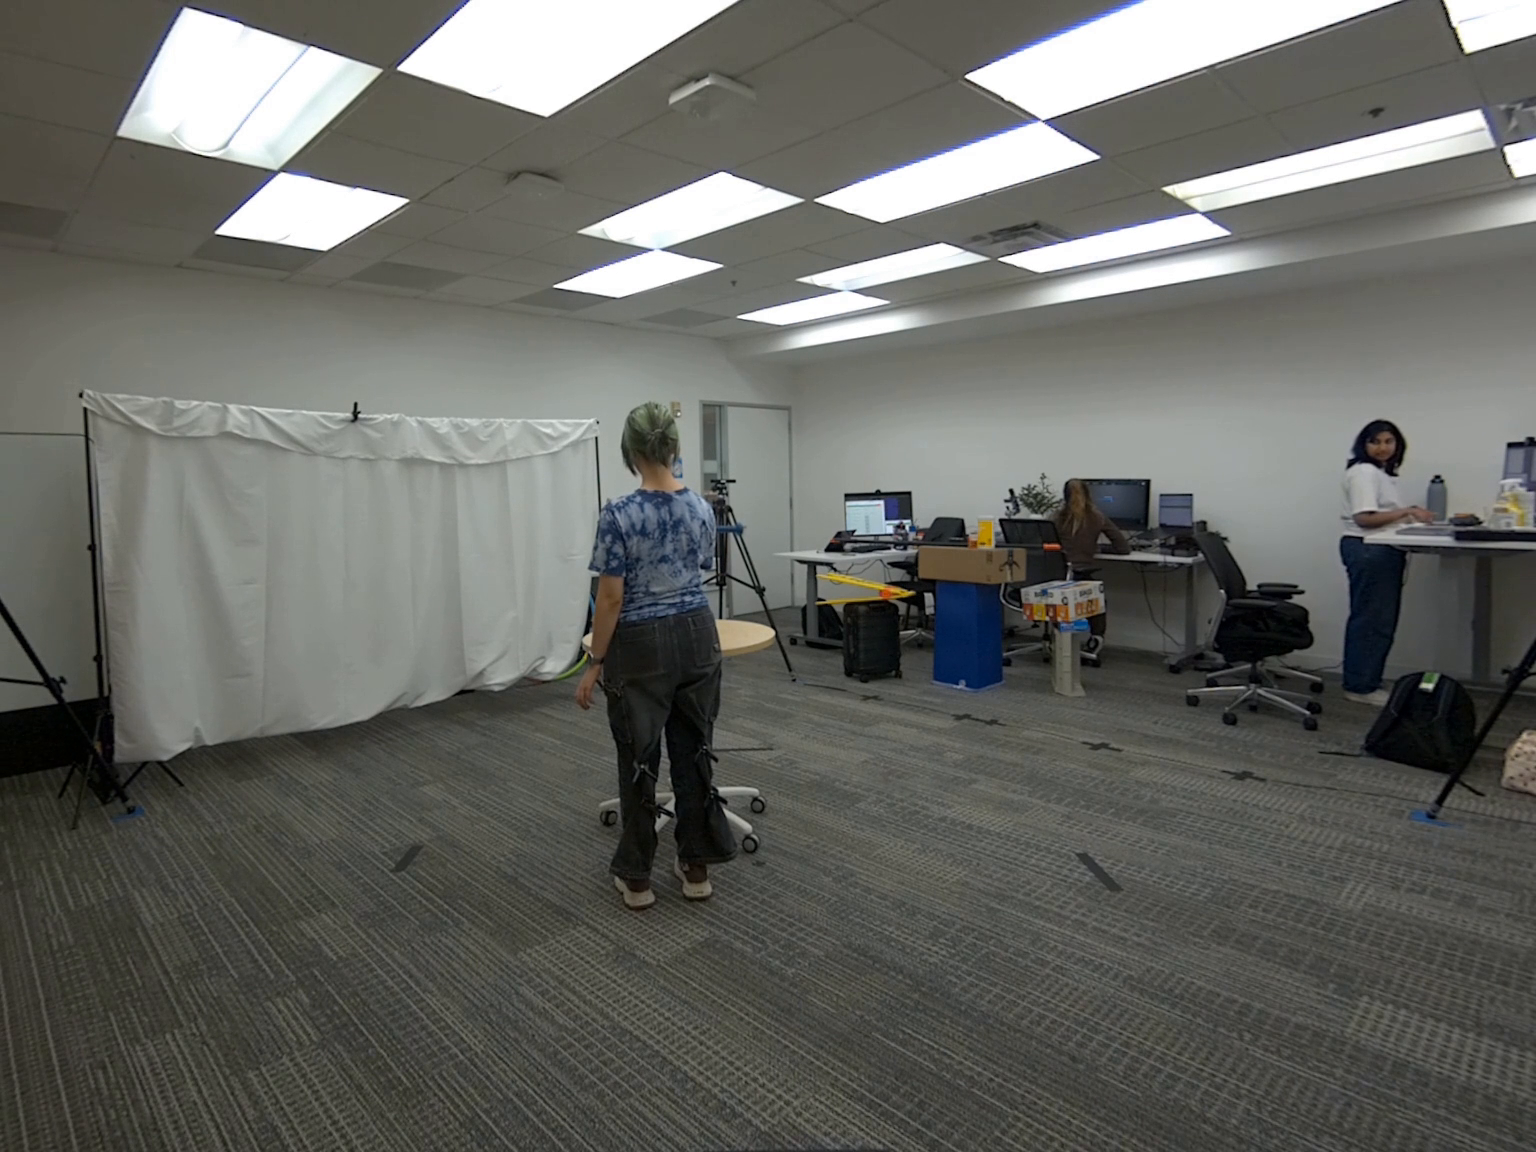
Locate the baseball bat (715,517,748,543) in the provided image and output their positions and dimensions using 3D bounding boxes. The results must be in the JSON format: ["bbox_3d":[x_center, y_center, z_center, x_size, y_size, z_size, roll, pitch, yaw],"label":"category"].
[{"bbox_3d":[-0.357,-0.188,3.316,0.536,0.089,0.090,2,4,-12],"label":"baseball bat"}]
